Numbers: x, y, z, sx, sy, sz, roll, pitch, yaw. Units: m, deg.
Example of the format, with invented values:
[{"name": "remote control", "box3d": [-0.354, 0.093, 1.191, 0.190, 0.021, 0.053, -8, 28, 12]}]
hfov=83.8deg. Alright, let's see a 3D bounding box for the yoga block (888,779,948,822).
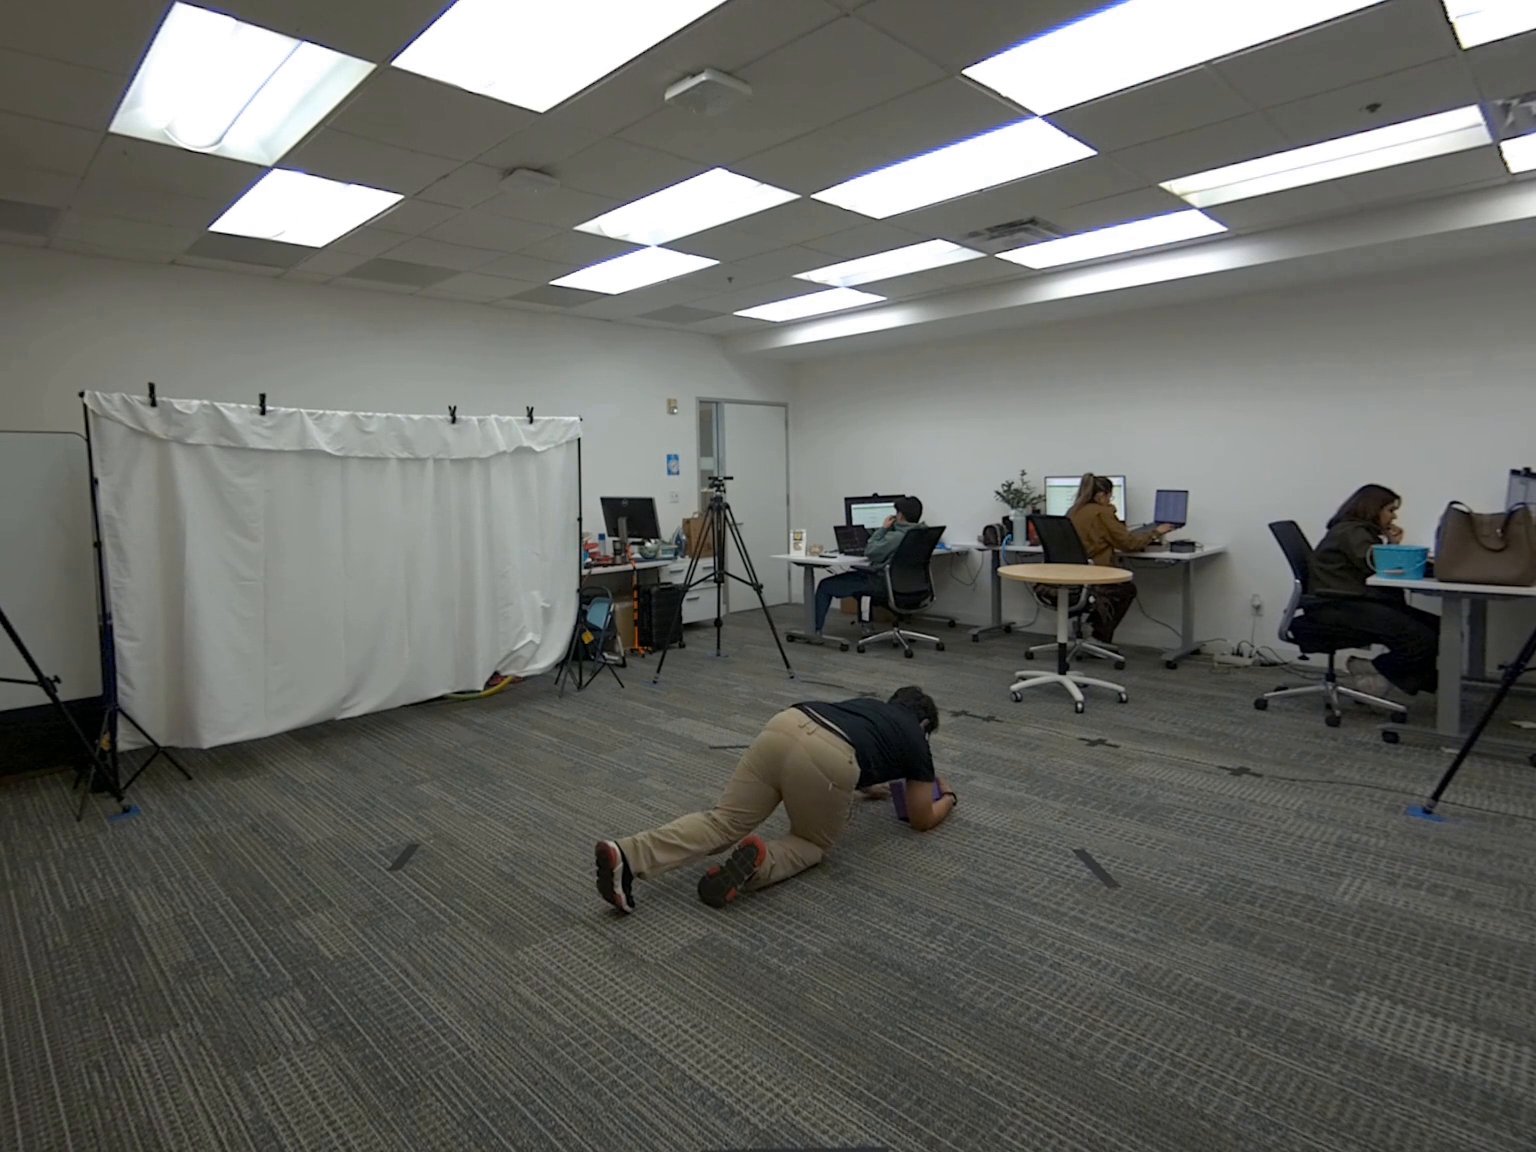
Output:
[{"name": "yoga block", "box3d": [0.618, 0.901, 3.524, 0.223, 0.150, 0.078, -4, -10, -39]}]
